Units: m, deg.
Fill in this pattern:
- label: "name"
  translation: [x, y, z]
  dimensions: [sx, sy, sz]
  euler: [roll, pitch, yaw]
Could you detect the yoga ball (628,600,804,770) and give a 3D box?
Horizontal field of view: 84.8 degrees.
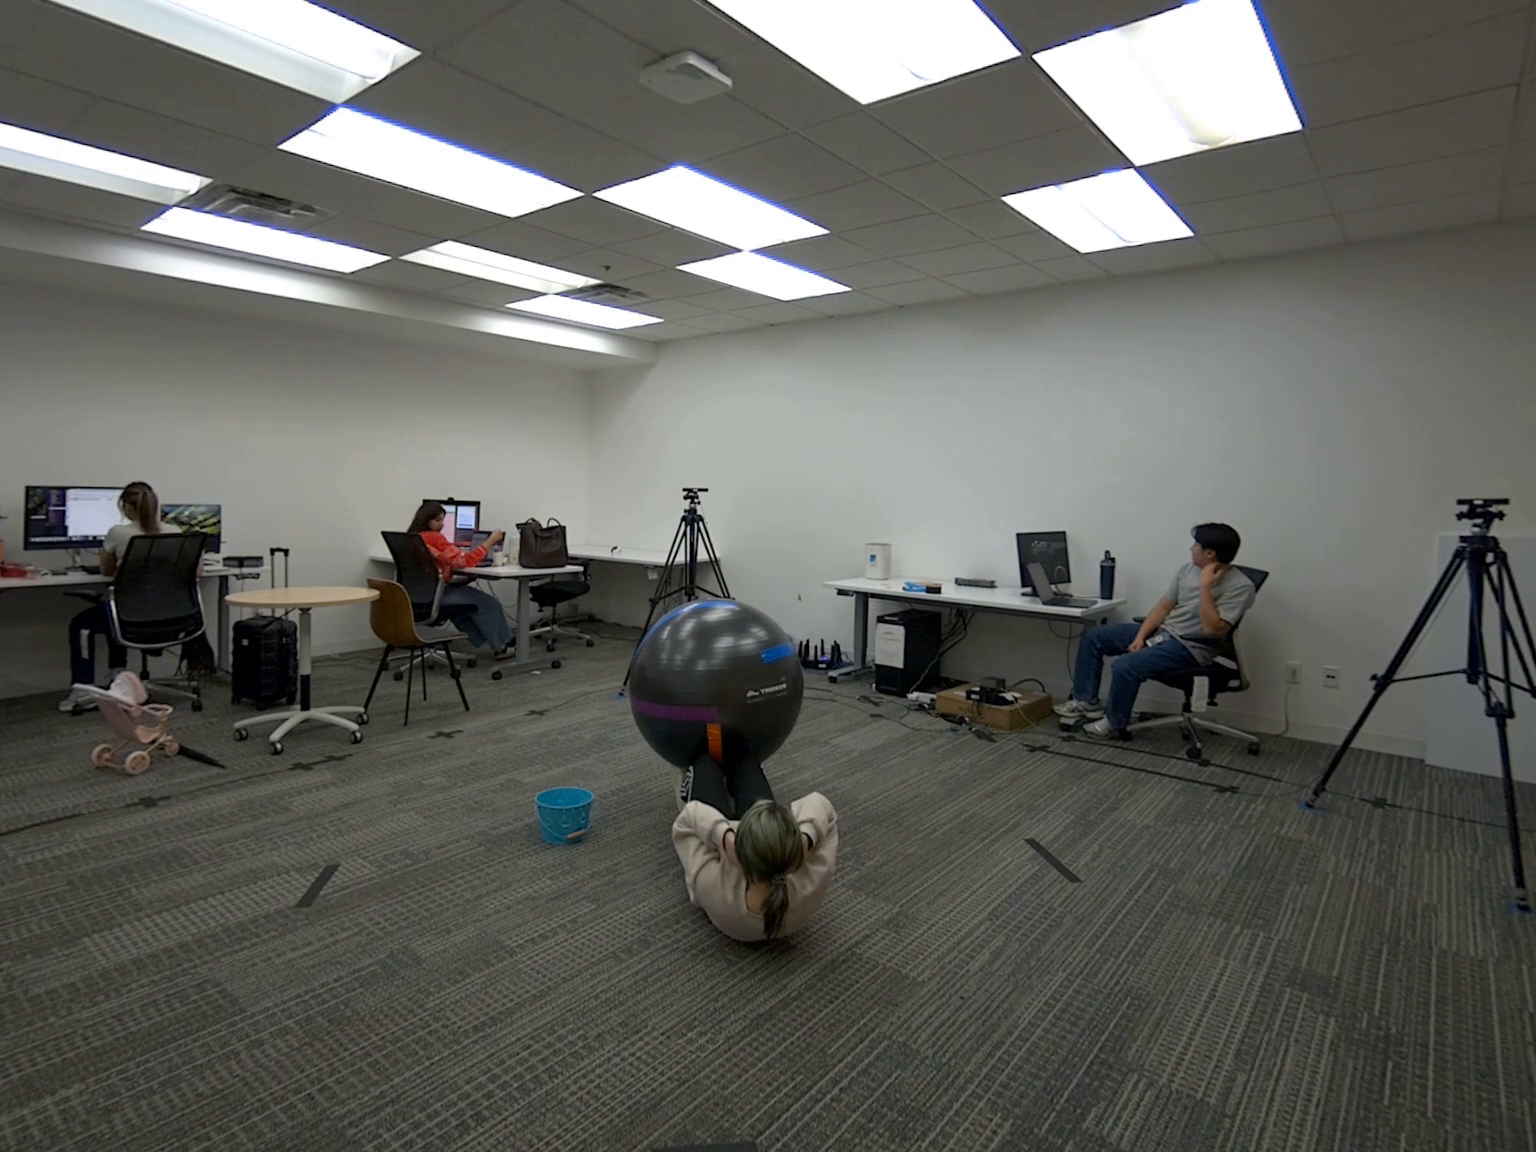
- label: "yoga ball"
  translation: [-0.242, 0.474, 3.687]
  dimensions: [0.757, 0.756, 0.761]
  euler: [1, 4, -2]
